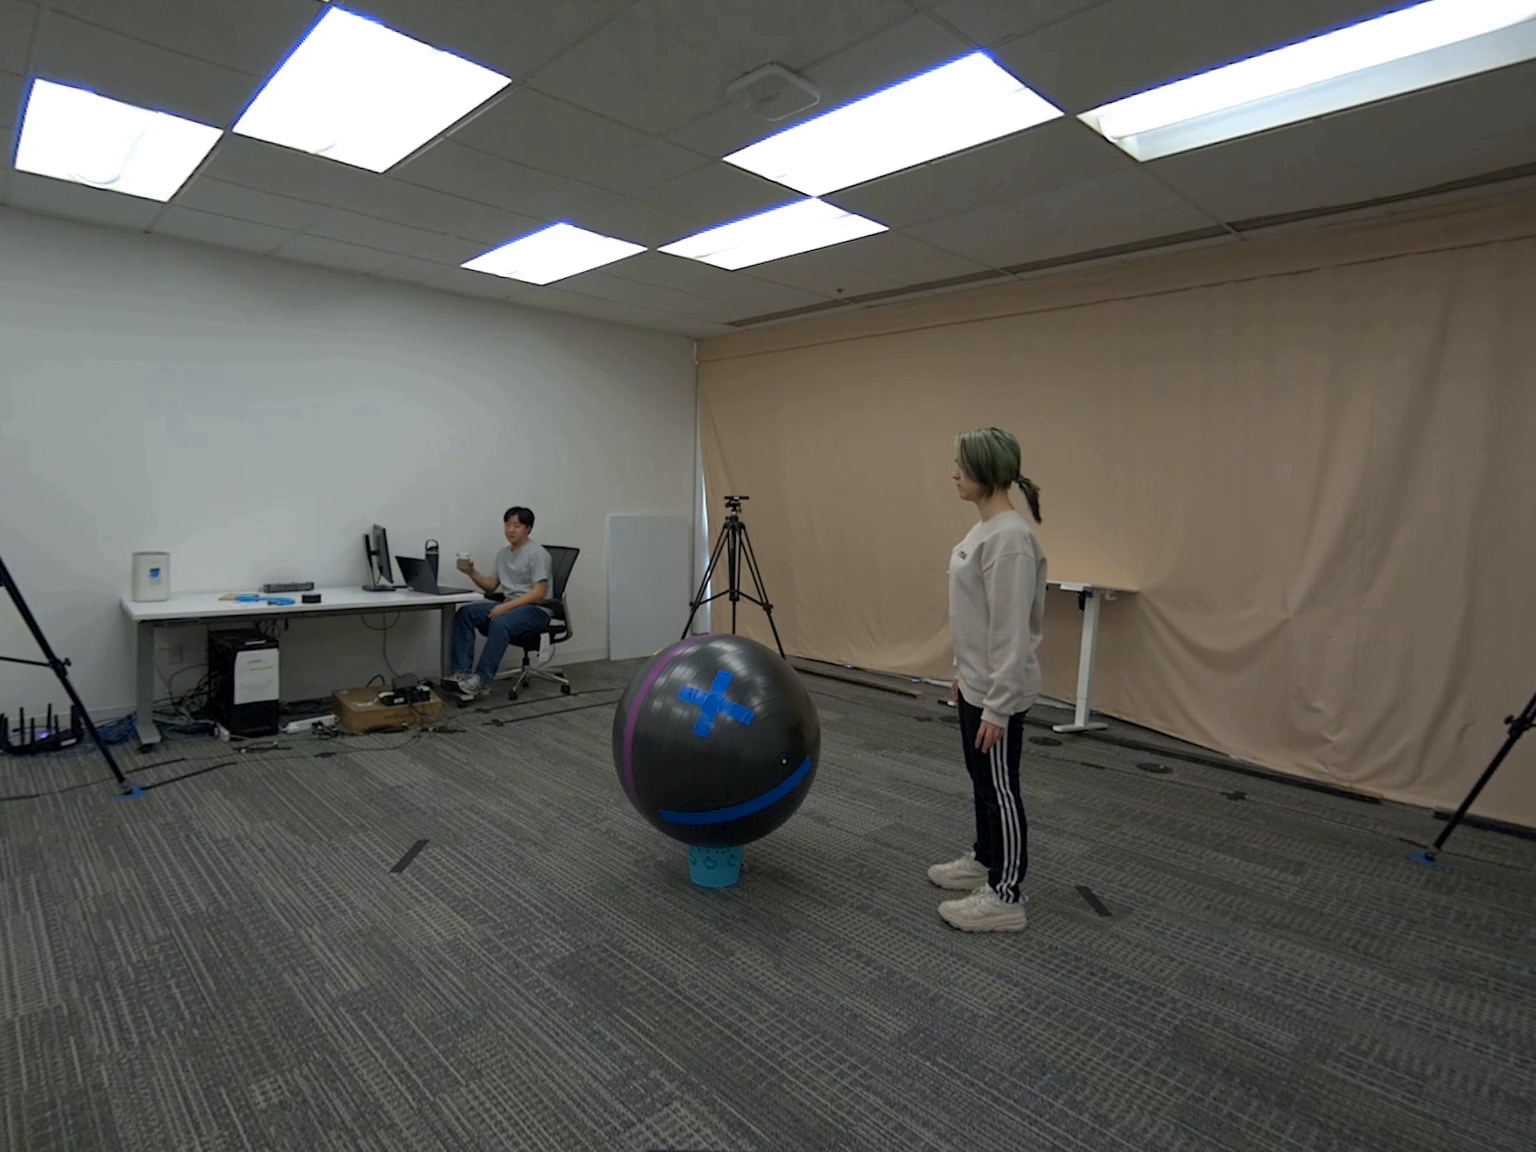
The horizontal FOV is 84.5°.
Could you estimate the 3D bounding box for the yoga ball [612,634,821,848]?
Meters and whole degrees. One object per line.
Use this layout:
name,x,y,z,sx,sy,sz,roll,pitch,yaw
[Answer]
yoga ball,-0.193,0.589,3.071,0.757,0.756,0.761,1,4,-1
